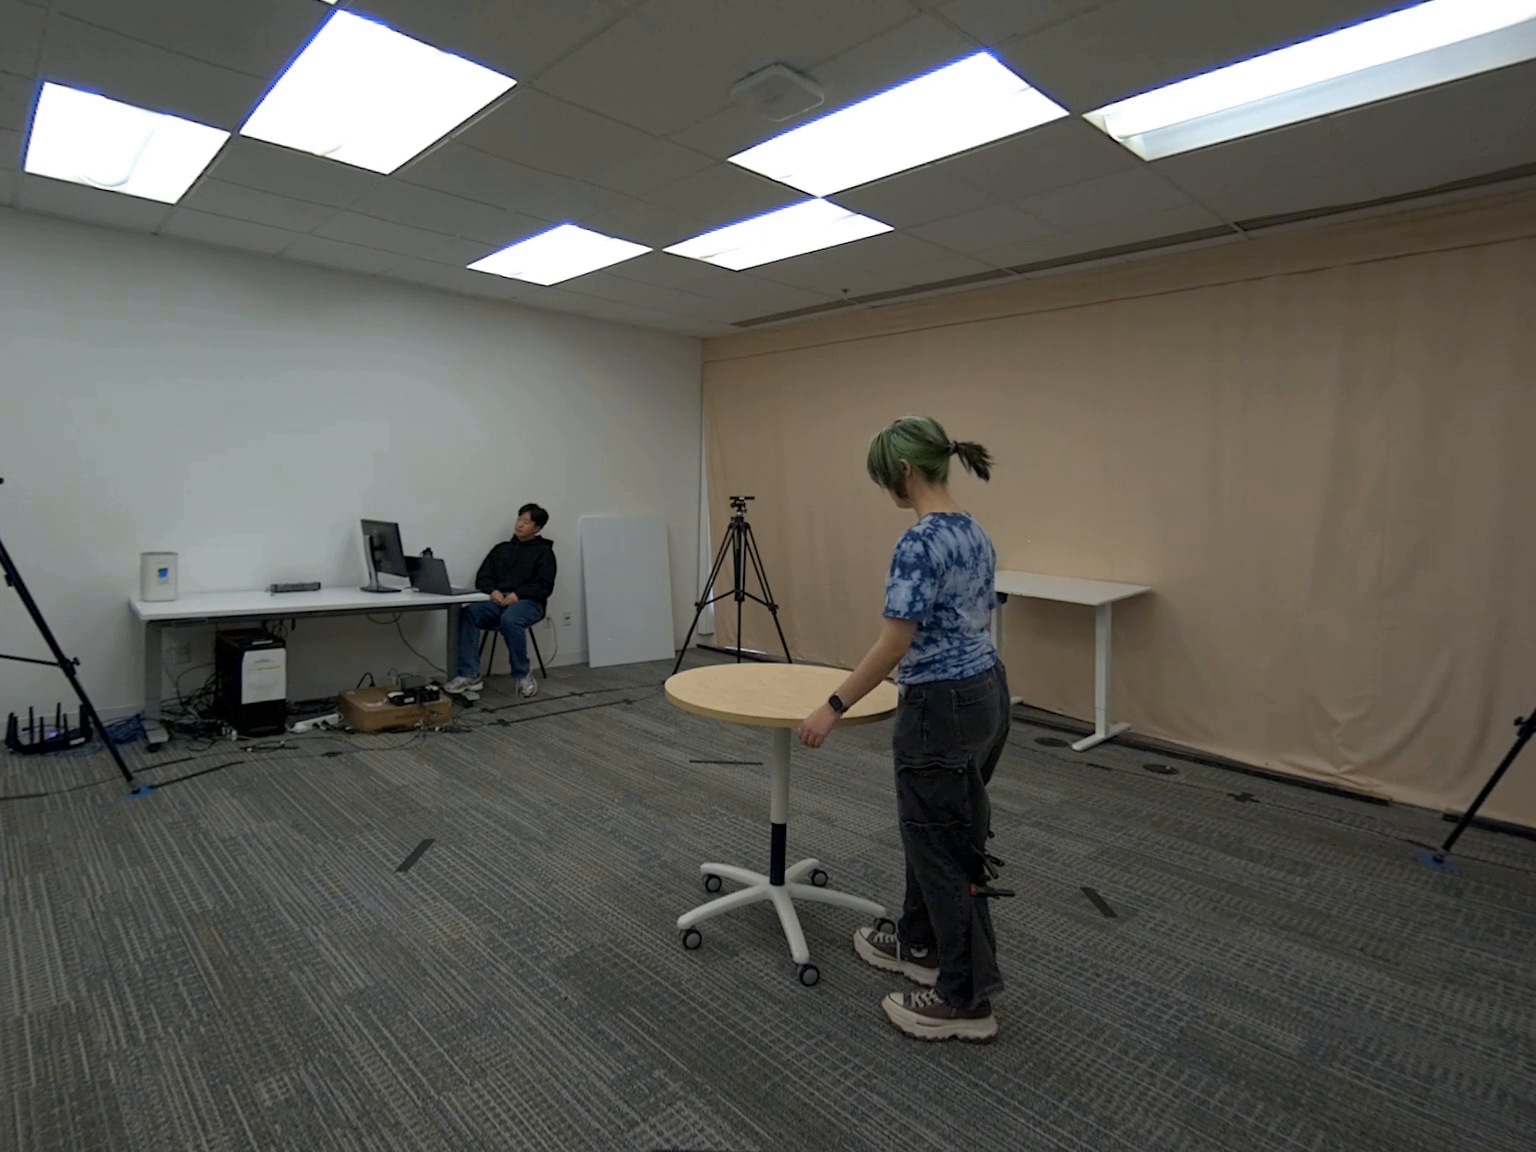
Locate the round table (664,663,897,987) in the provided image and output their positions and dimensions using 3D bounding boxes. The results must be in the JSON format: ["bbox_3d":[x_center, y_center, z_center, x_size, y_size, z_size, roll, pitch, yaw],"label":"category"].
[{"bbox_3d":[0.028,0.753,2.733,0.763,0.792,0.767,2,4,-2],"label":"round table"}]
